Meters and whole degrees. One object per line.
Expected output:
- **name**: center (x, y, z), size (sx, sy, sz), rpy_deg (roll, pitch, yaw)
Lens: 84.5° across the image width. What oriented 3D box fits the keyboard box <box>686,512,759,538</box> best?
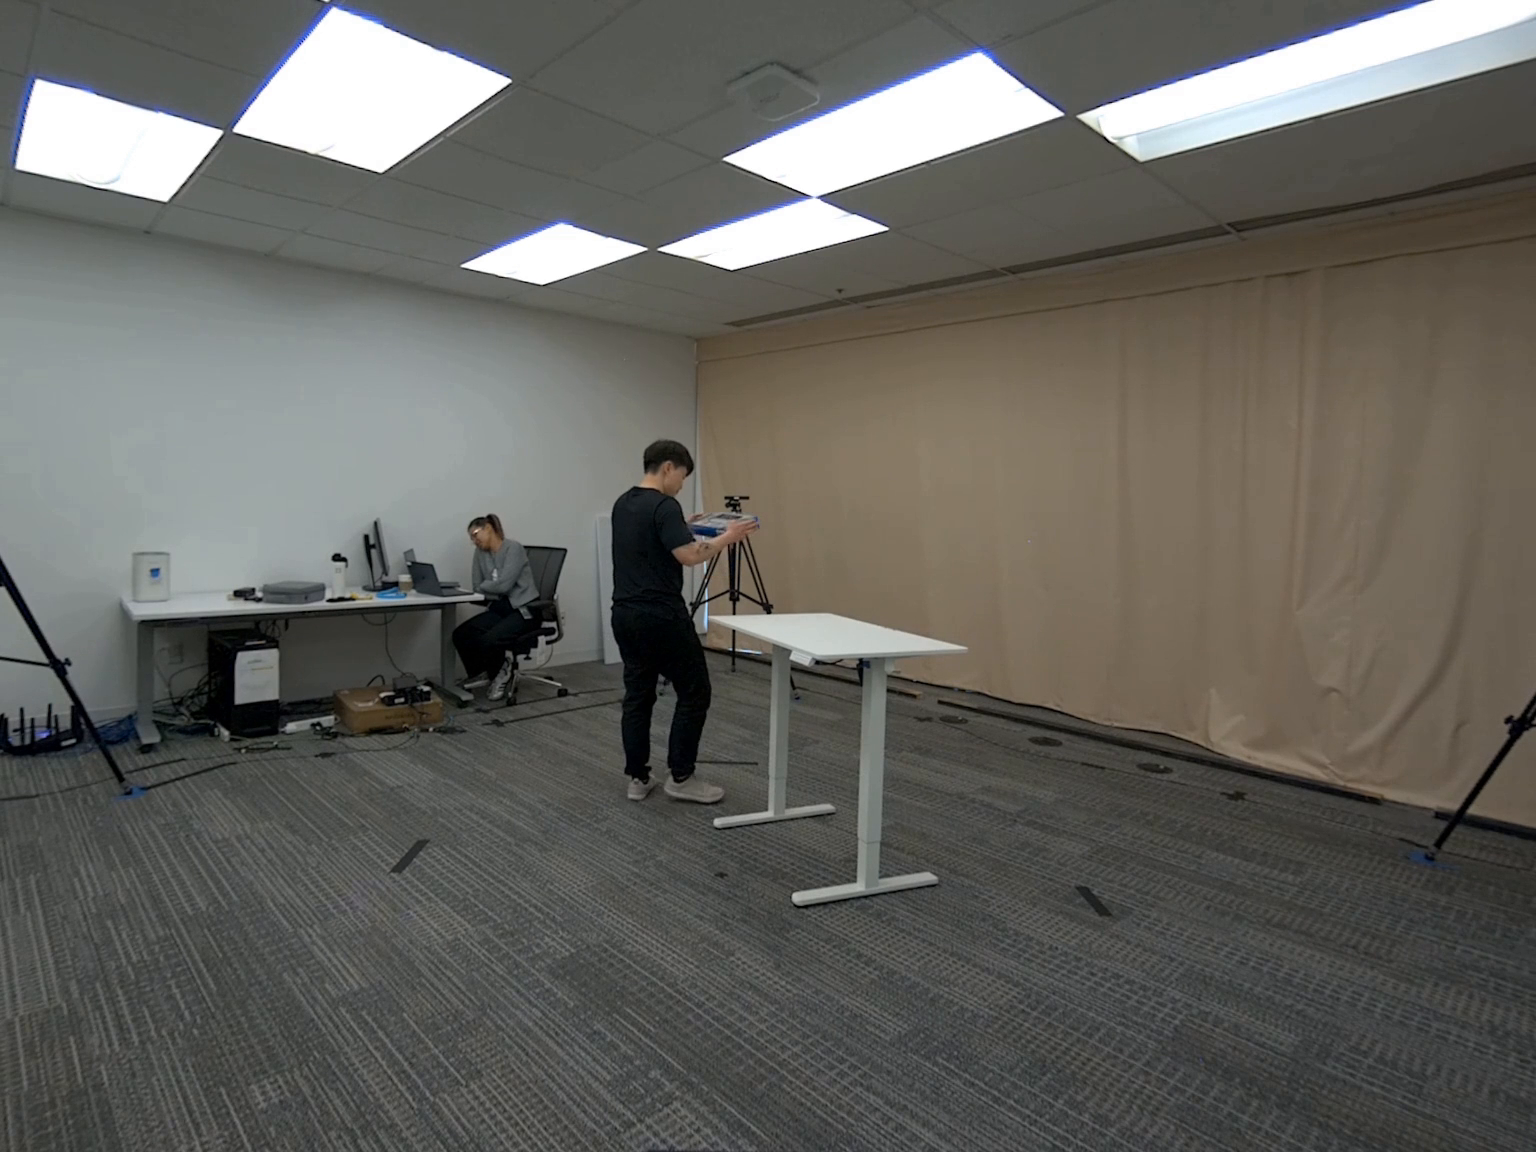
- **keyboard box**: center (-0.231, -0.243, 4.025), size (0.174, 0.058, 0.447), rpy_deg (-17, 14, -26)
